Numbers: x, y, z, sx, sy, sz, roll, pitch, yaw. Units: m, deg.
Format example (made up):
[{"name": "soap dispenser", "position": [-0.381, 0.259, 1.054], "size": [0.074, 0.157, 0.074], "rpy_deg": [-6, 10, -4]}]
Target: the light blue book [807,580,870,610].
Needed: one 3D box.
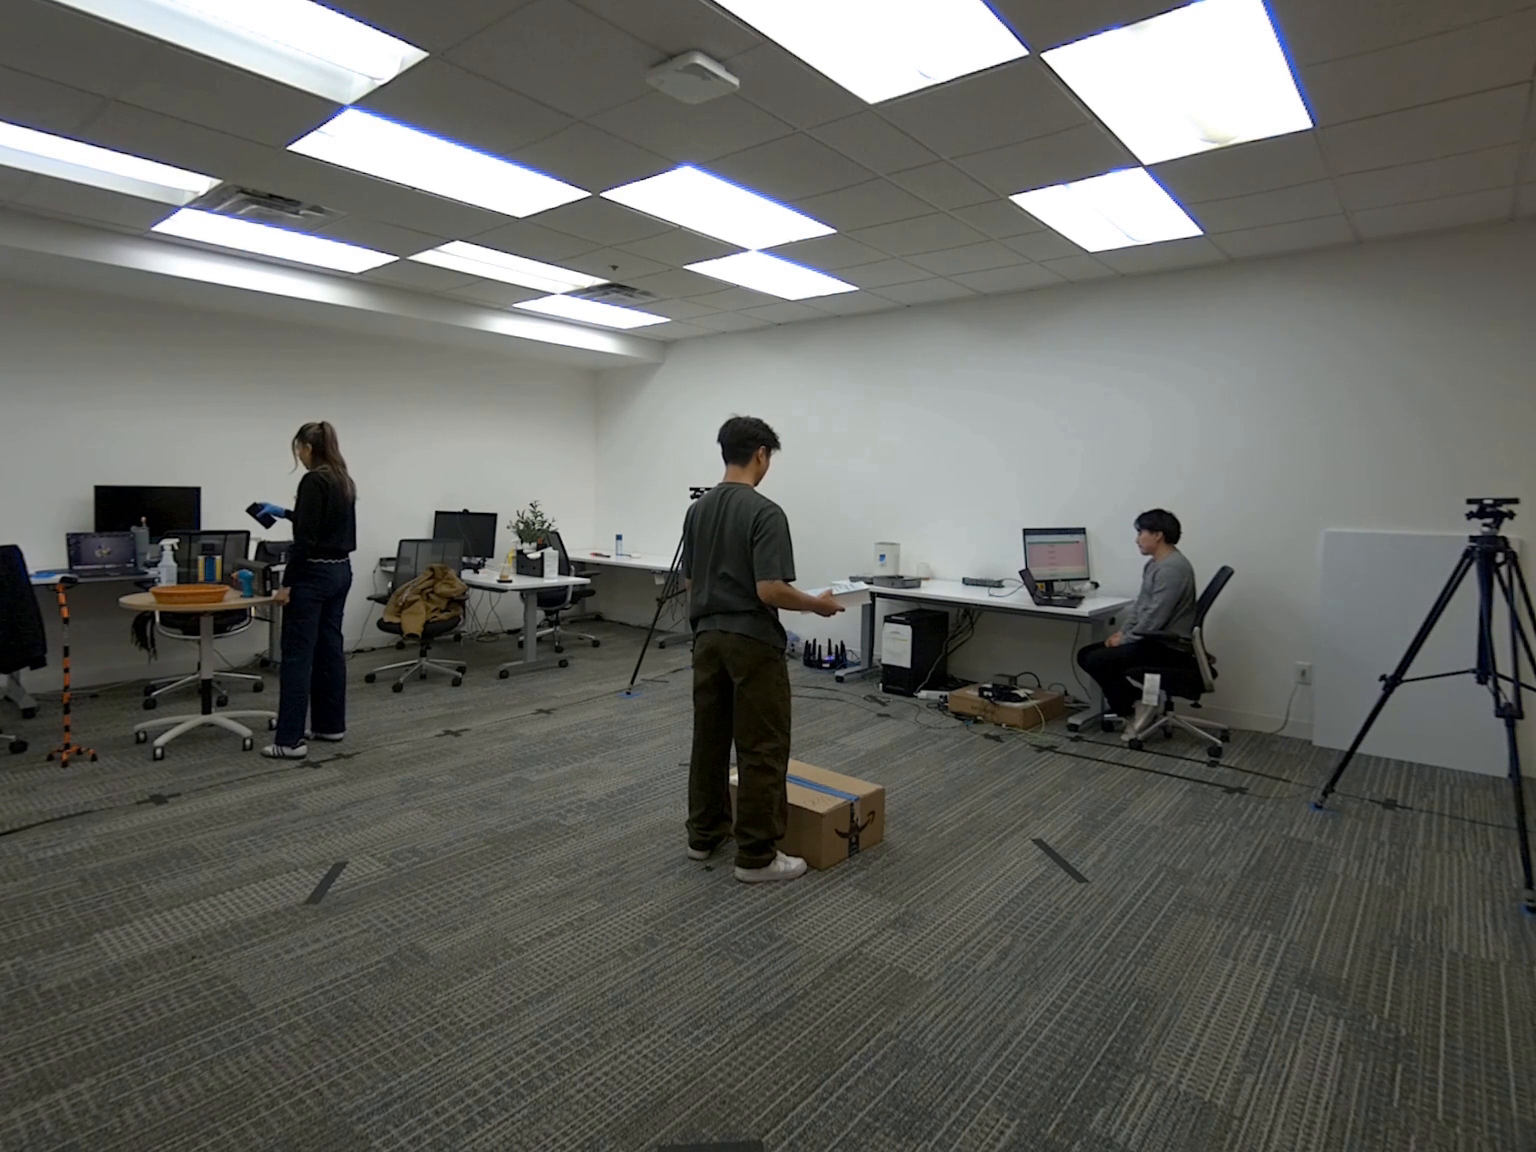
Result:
[{"name": "light blue book", "position": [0.229, 0.077, 3.189], "size": [0.259, 0.058, 0.194], "rpy_deg": [-10, 8, -7]}]
